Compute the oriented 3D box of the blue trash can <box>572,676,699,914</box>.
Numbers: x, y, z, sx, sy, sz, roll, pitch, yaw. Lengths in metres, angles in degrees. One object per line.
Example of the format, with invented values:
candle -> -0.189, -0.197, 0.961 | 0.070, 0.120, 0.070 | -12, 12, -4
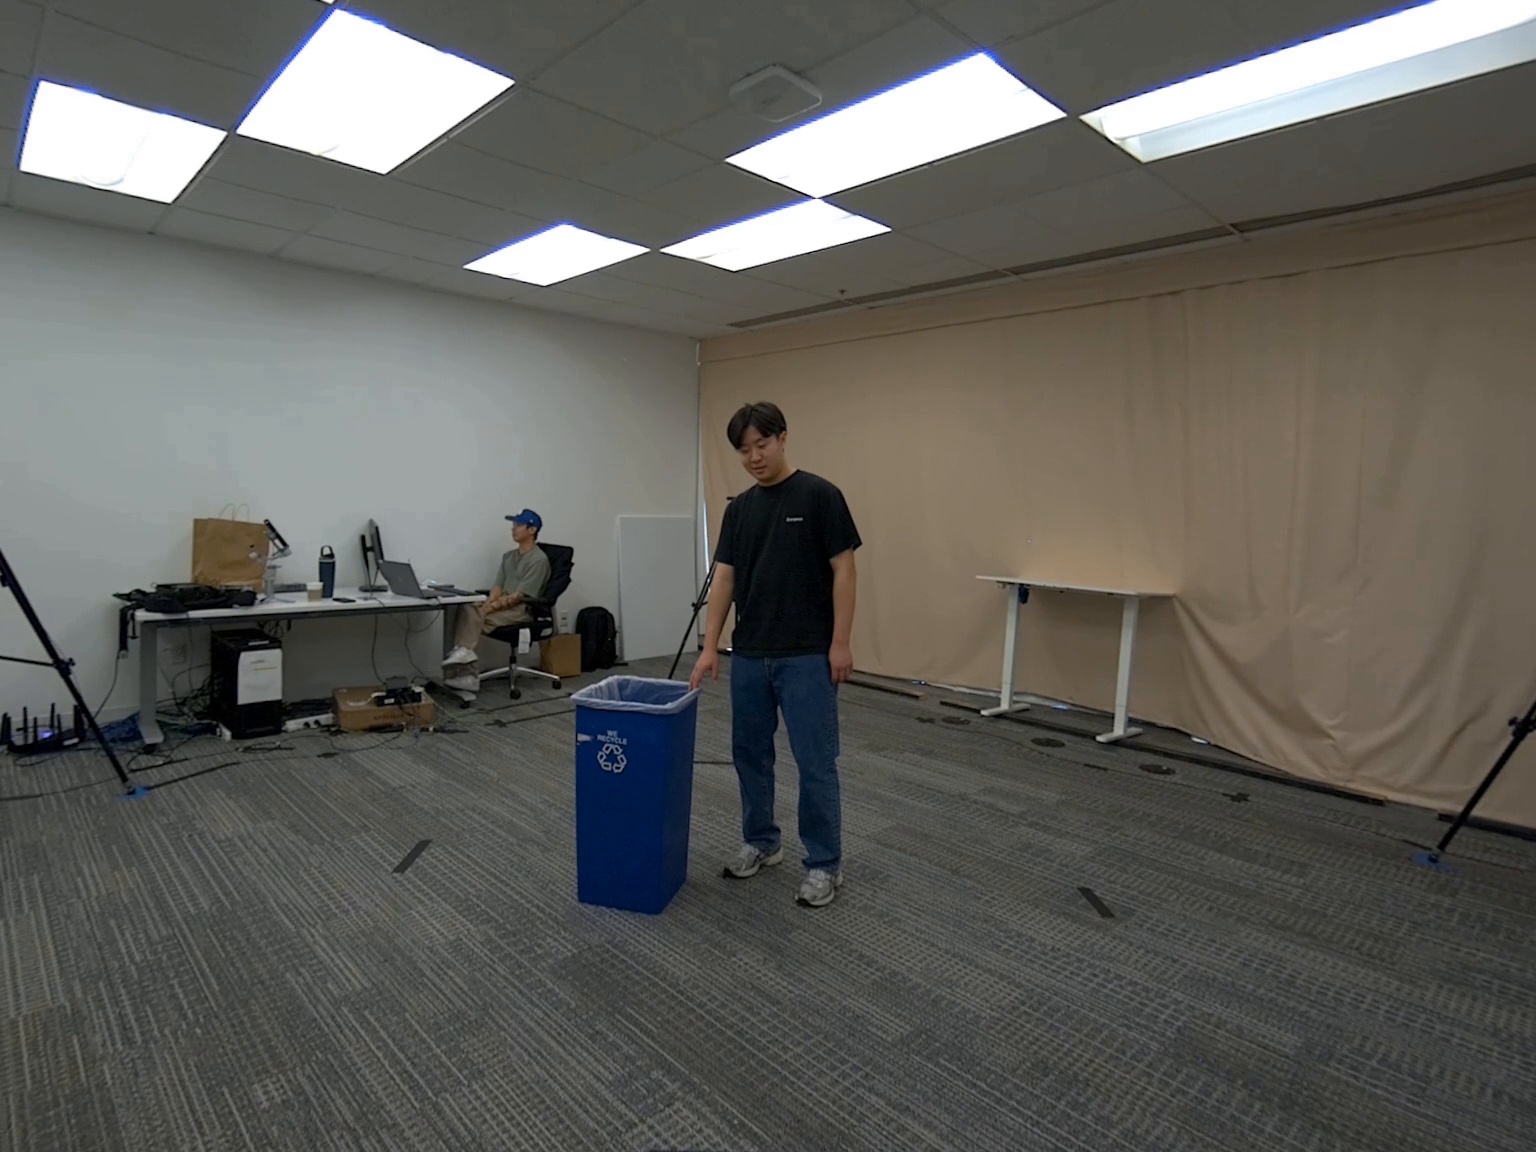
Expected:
blue trash can -> -0.472, 0.755, 2.955 | 0.379, 0.712, 0.374 | 4, 4, 15
